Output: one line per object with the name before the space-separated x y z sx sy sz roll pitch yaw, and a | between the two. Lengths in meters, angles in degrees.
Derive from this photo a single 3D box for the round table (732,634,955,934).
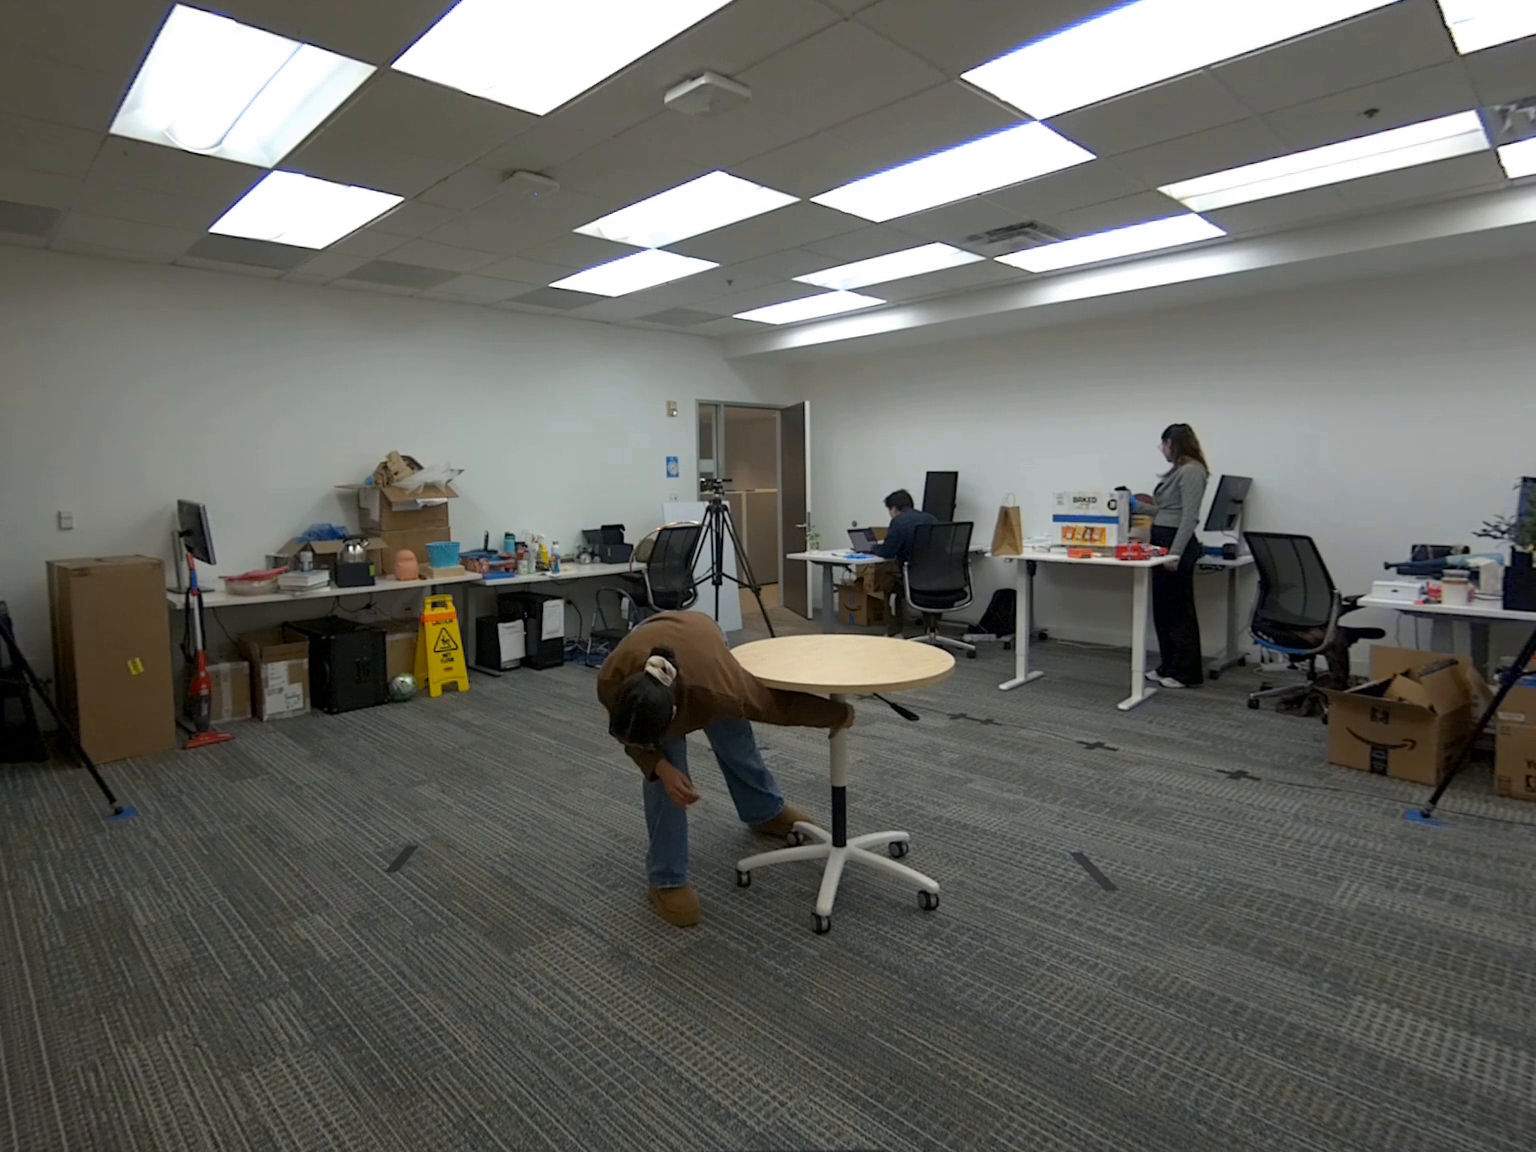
round table | 0.249 0.670 2.904 0.763 0.790 0.768 -1 5 -2
